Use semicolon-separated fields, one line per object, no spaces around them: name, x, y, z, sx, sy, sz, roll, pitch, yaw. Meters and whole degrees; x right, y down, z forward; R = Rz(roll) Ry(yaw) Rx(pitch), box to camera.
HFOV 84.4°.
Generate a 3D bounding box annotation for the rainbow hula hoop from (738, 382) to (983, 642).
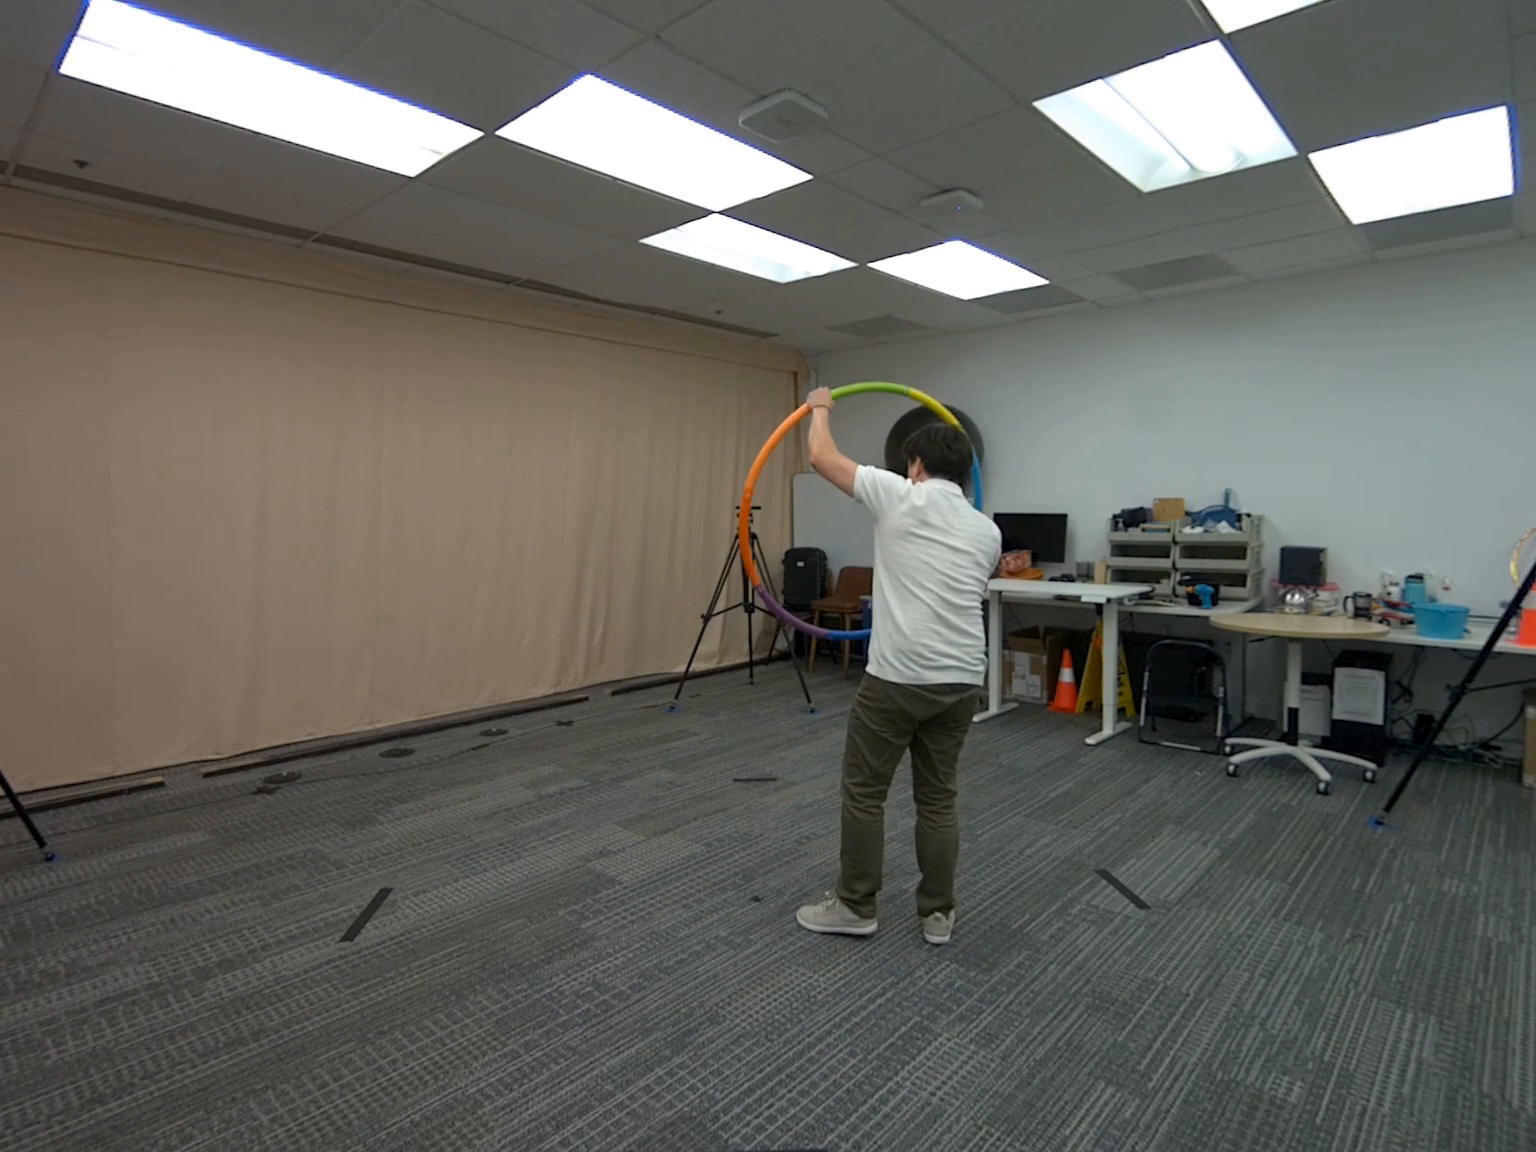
rainbow hula hoop;0.356;-0.198;3.137;0.961;0.970;0.036;-1;16;-18
